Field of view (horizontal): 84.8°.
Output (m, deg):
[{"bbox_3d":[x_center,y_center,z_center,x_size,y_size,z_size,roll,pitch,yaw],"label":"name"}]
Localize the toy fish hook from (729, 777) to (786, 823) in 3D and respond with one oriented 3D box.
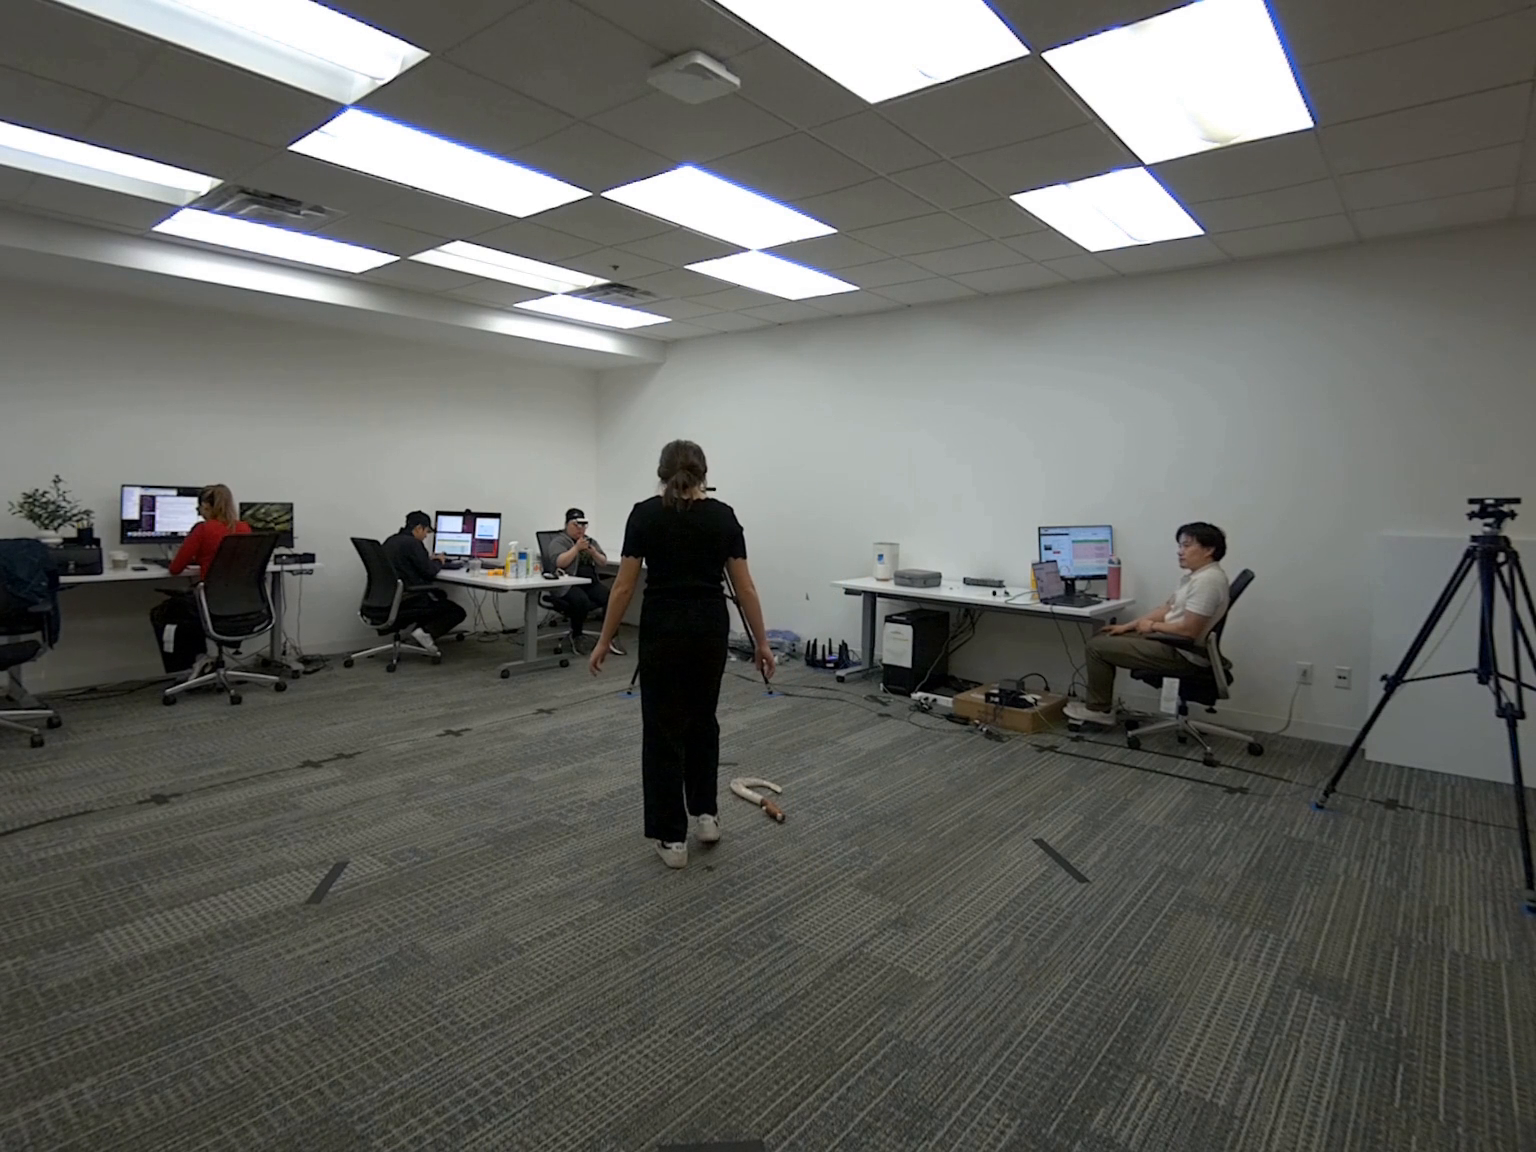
[{"bbox_3d":[-0.008,0.982,3.791,0.219,0.048,0.520,-3,7,-24],"label":"toy fish hook"}]
